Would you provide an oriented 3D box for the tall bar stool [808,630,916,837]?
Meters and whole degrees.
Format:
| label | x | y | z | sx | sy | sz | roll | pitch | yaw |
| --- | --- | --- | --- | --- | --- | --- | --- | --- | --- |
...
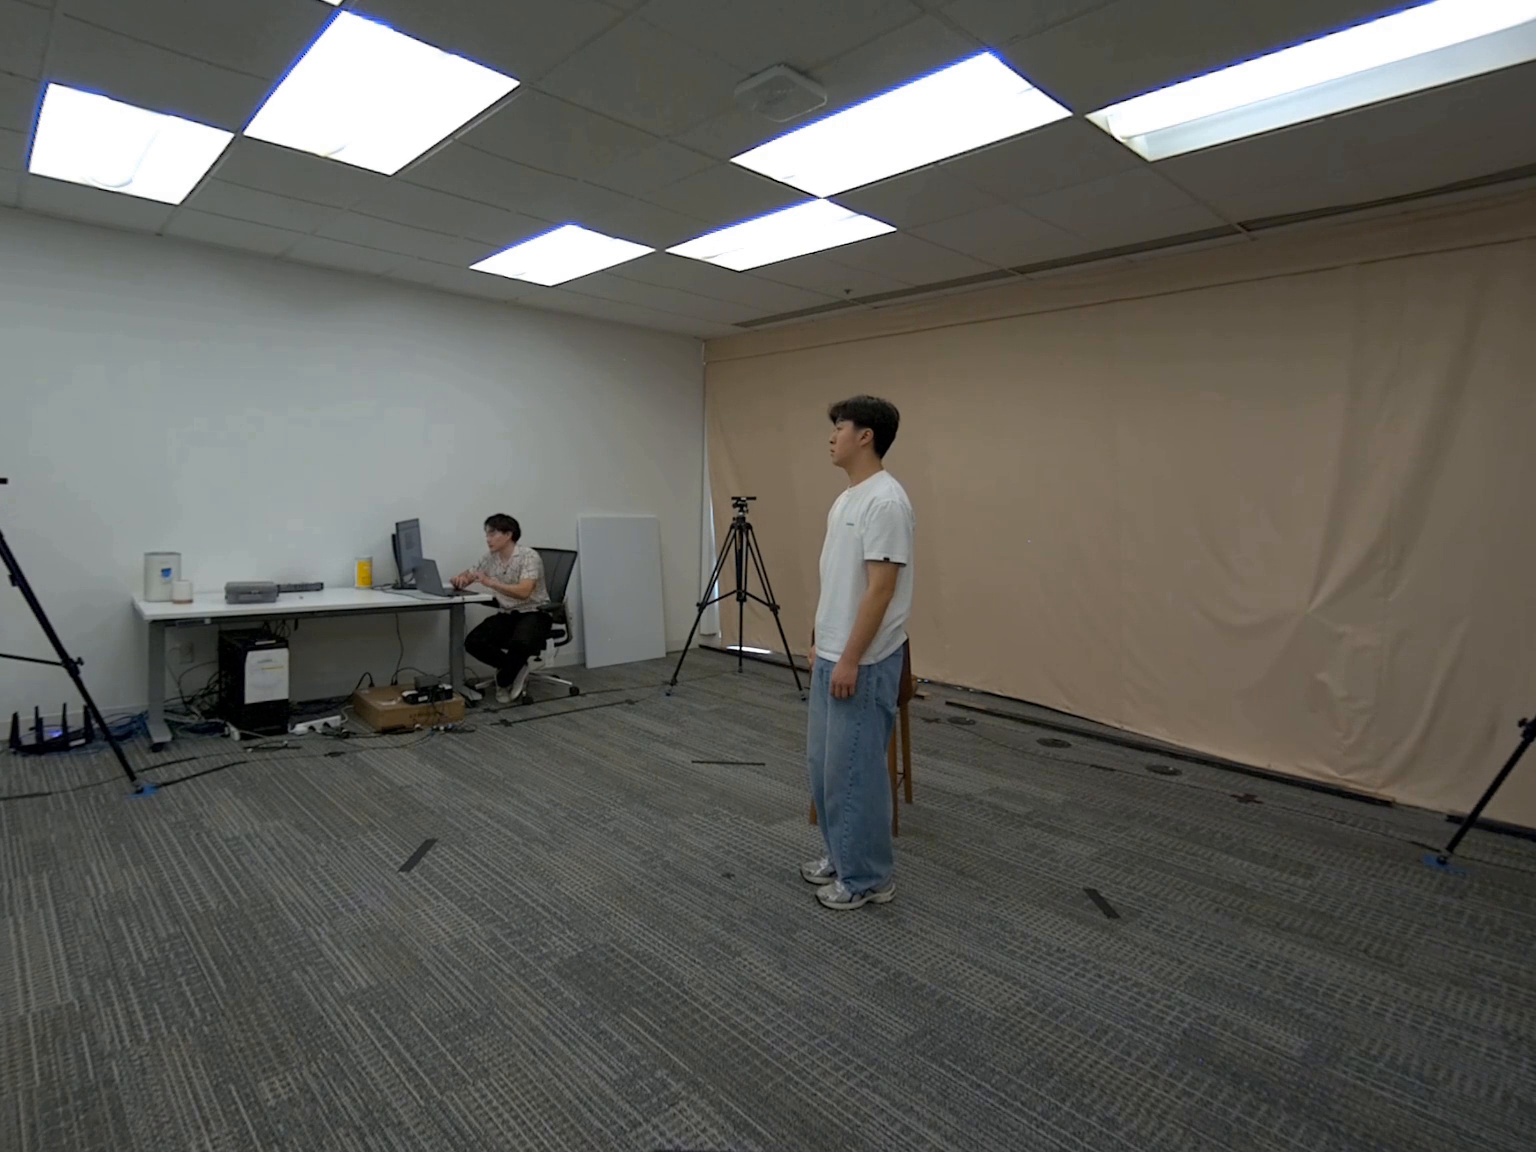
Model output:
| label | x | y | z | sx | sy | sz | roll | pitch | yaw |
| --- | --- | --- | --- | --- | --- | --- | --- | --- | --- |
| tall bar stool | 0.422 | 0.628 | 3.752 | 0.463 | 0.887 | 0.462 | 2 | 5 | 18 |
